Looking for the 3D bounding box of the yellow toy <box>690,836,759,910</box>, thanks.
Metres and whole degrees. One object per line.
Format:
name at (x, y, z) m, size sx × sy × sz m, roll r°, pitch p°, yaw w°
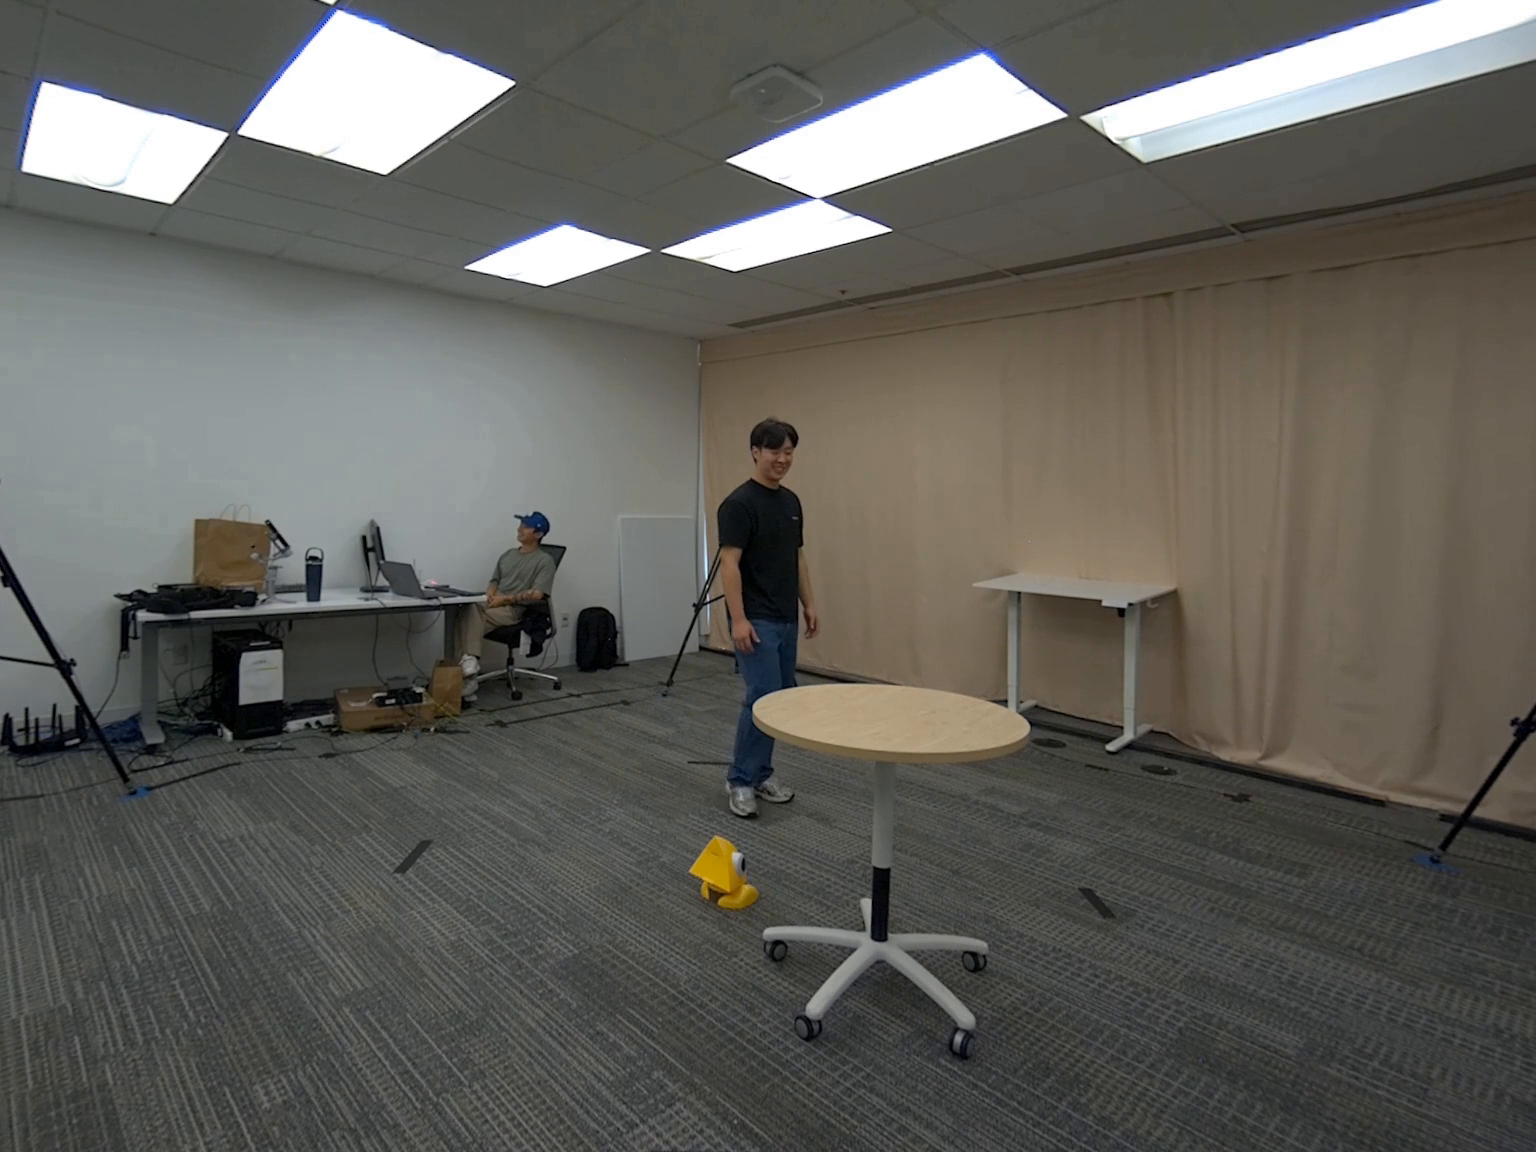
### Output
yellow toy at (-0.147, 1.010, 2.944) m, size 0.210 × 0.230 × 0.189 m, roll 6°, pitch 6°, yaw 45°
